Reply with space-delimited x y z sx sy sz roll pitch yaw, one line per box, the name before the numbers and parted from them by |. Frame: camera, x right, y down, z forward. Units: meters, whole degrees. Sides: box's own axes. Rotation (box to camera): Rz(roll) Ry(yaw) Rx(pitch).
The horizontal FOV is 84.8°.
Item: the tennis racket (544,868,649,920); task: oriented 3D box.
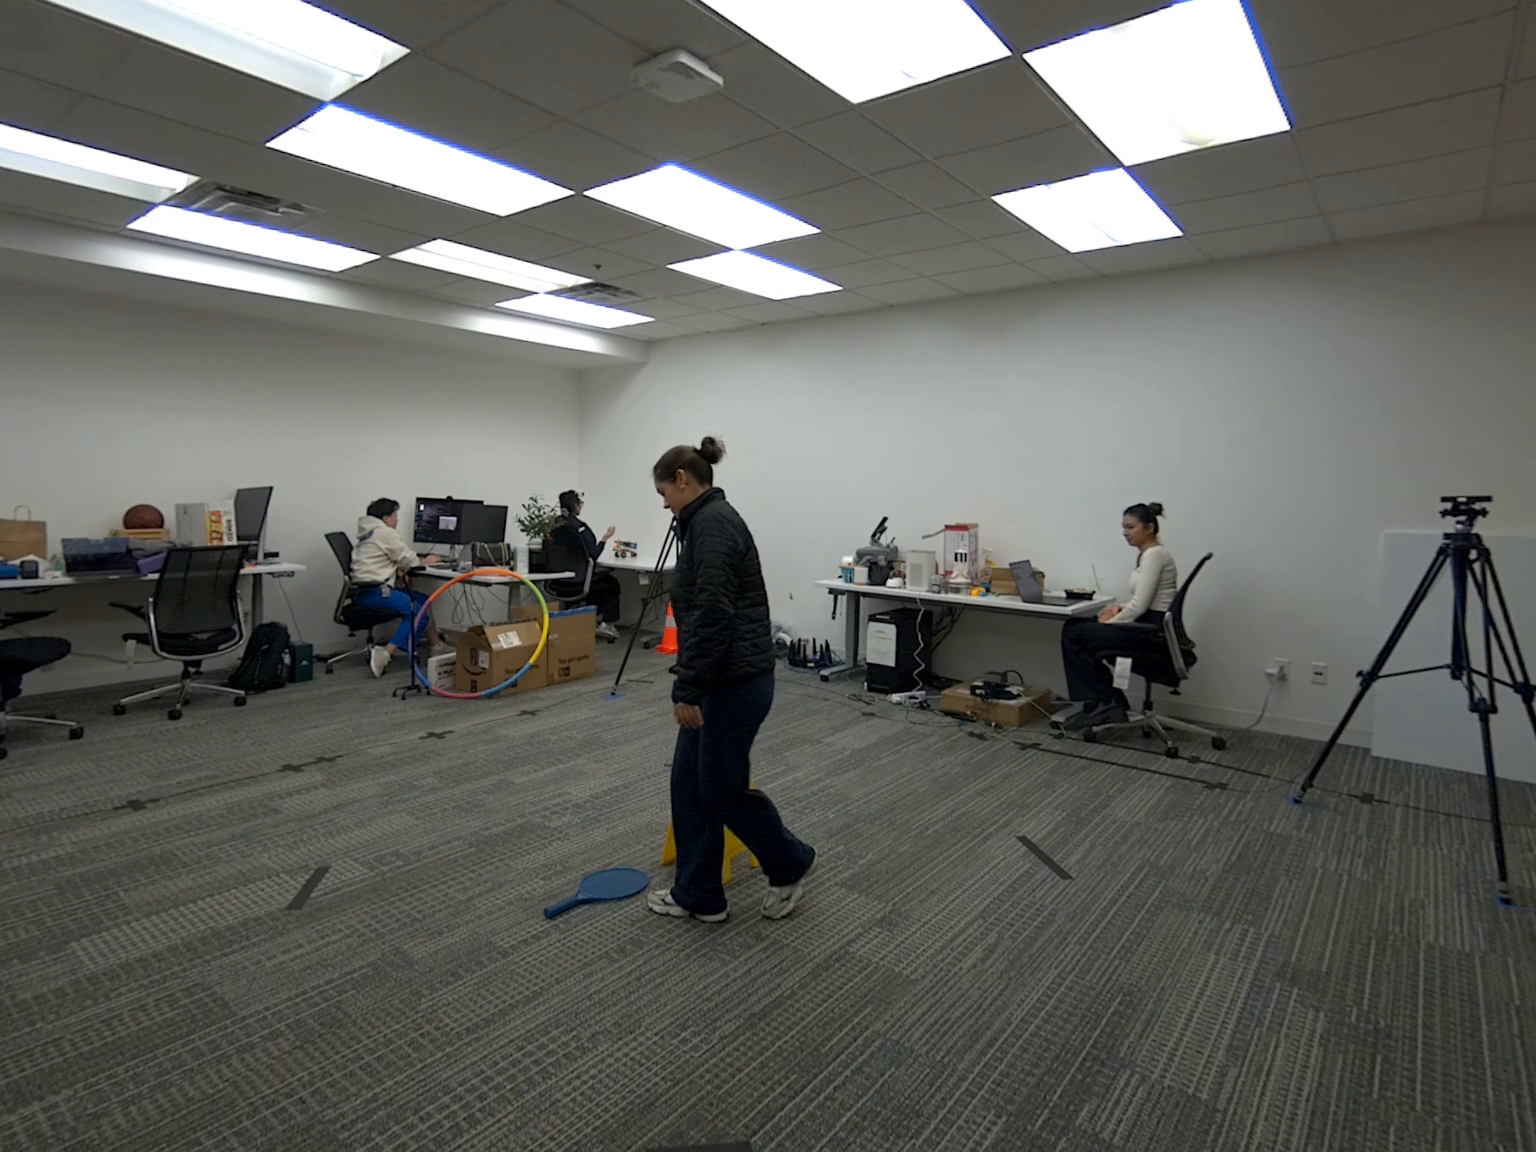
tennis racket | -0.577 1.067 2.914 0.221 0.032 0.420 4 5 39
